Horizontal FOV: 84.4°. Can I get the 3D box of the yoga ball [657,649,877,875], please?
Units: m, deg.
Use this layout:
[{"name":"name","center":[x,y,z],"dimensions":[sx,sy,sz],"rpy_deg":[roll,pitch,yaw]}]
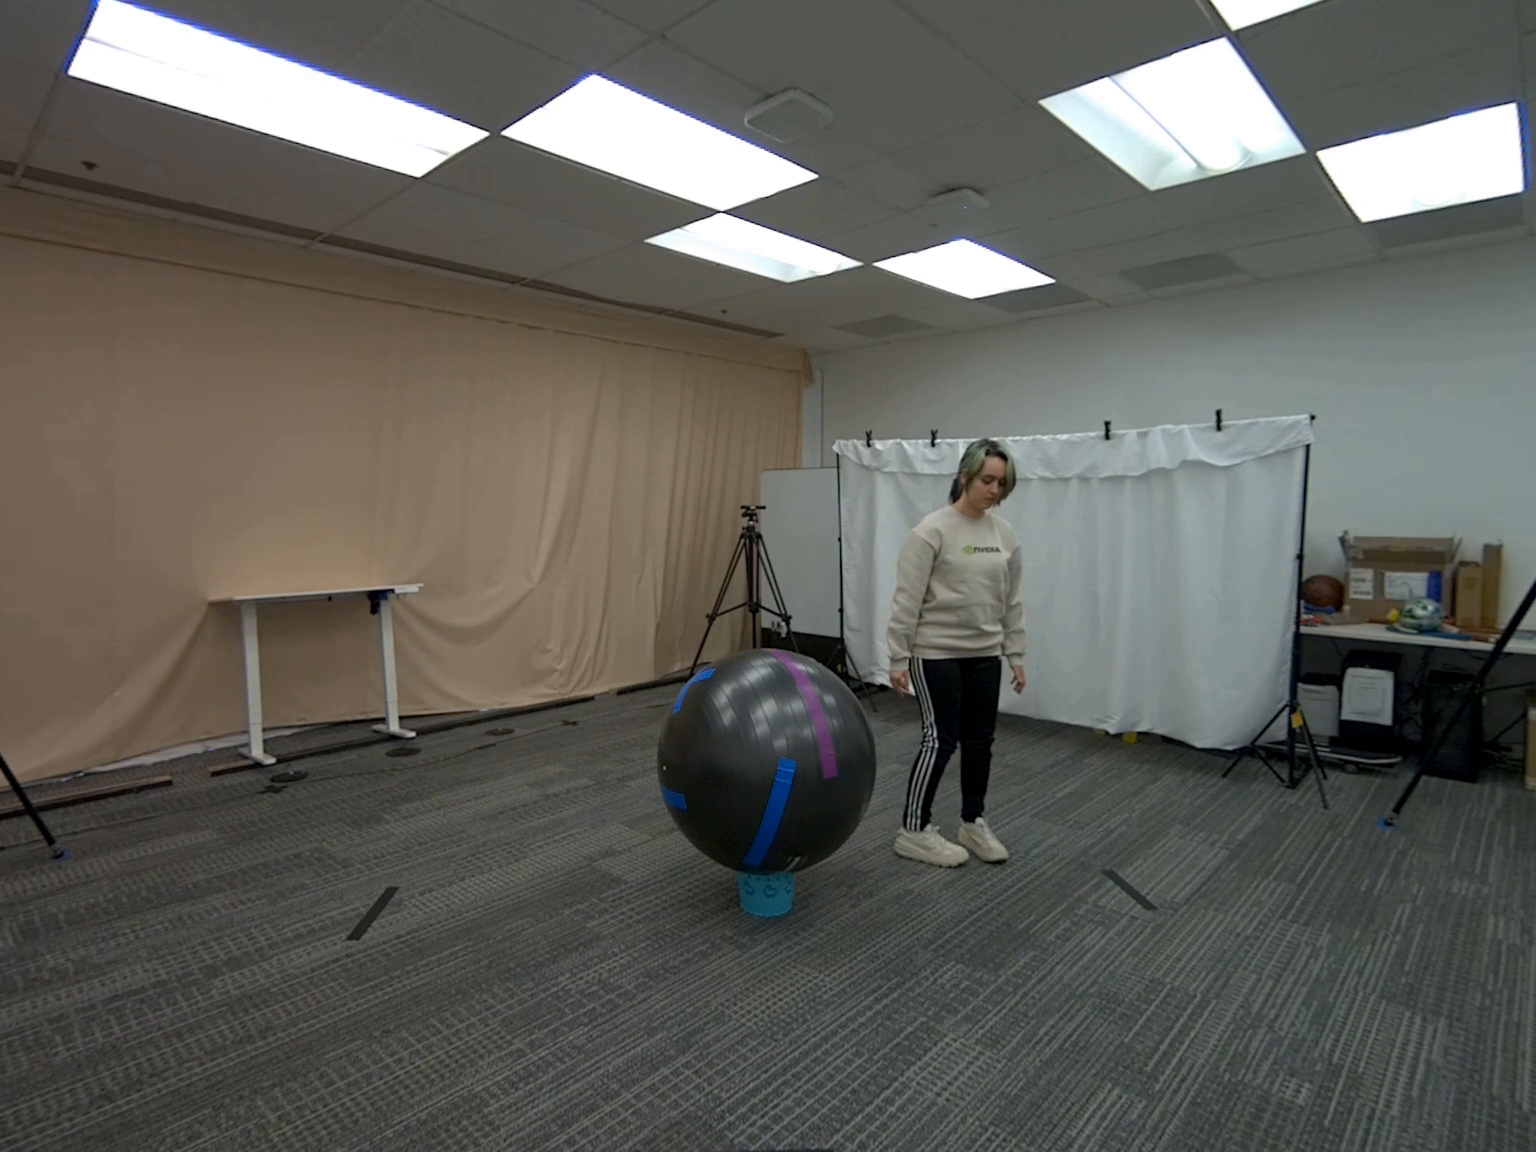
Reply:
[{"name":"yoga ball","center":[-0.003,0.634,2.926],"dimensions":[0.757,0.756,0.760],"rpy_deg":[0,4,-2]}]
